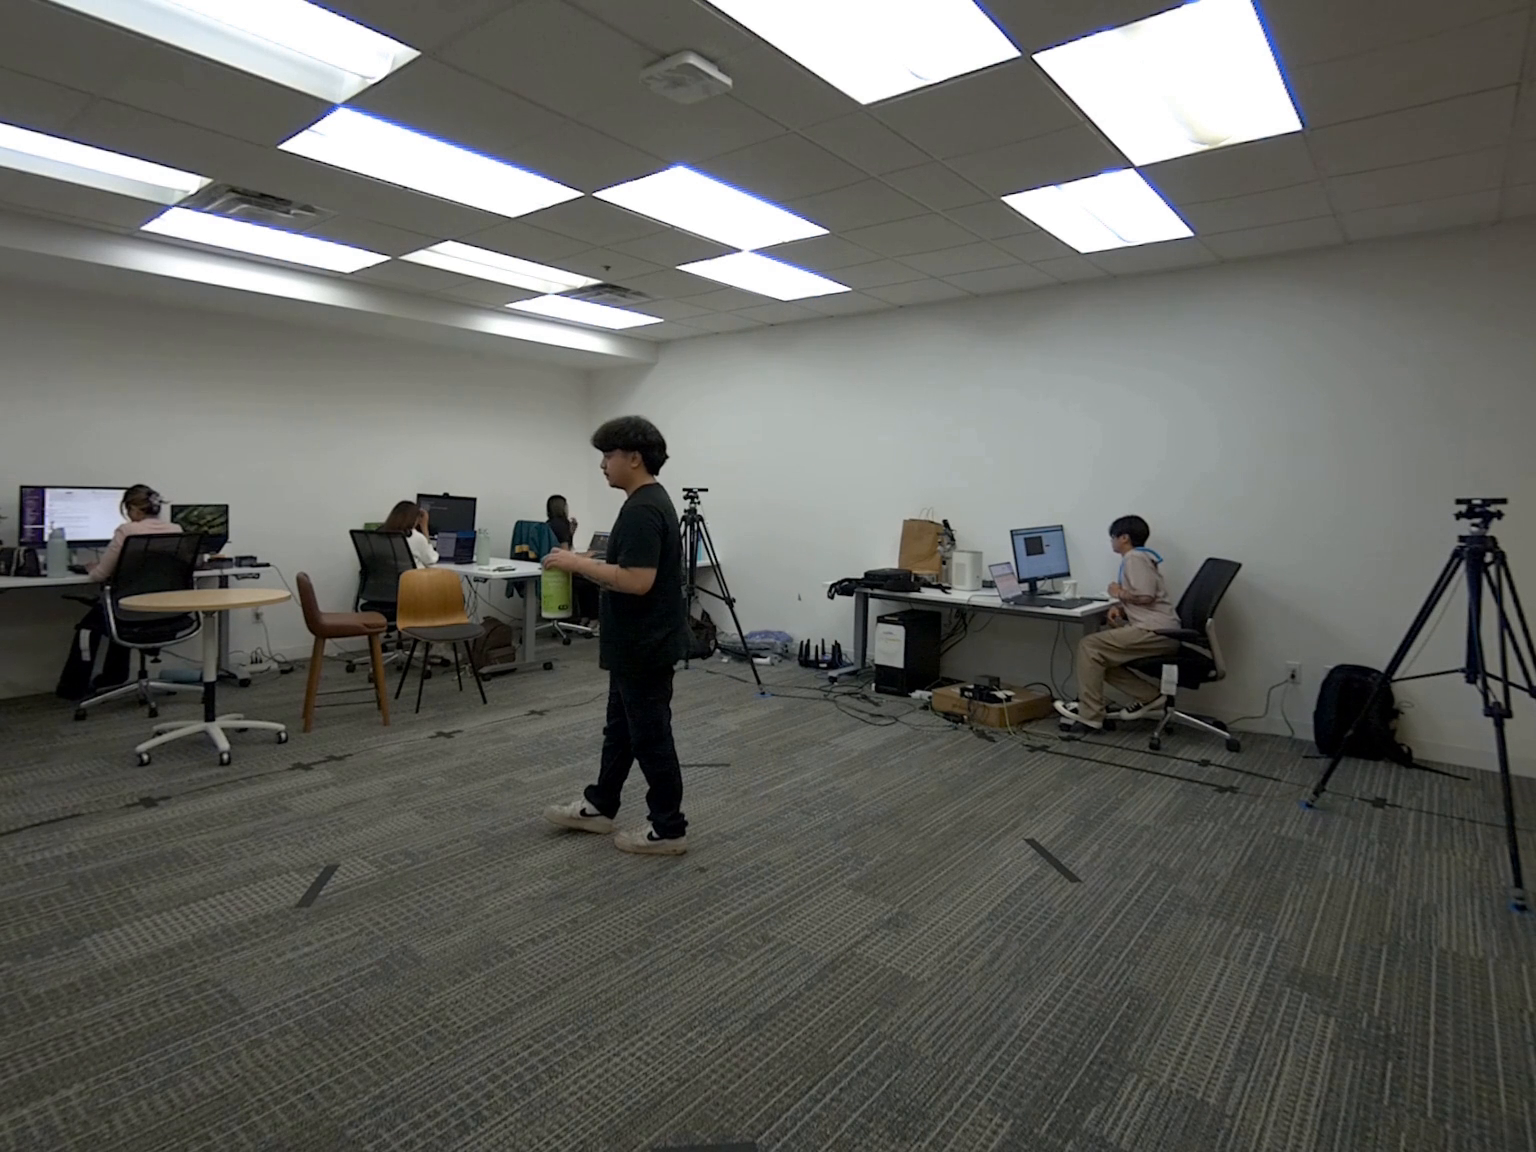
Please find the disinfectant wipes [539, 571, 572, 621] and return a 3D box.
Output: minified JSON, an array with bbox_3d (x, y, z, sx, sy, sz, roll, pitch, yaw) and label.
[{"bbox_3d":[-0.799,0.041,3.151,0.118,0.217,0.118,-1,1,-2],"label":"disinfectant wipes"}]
